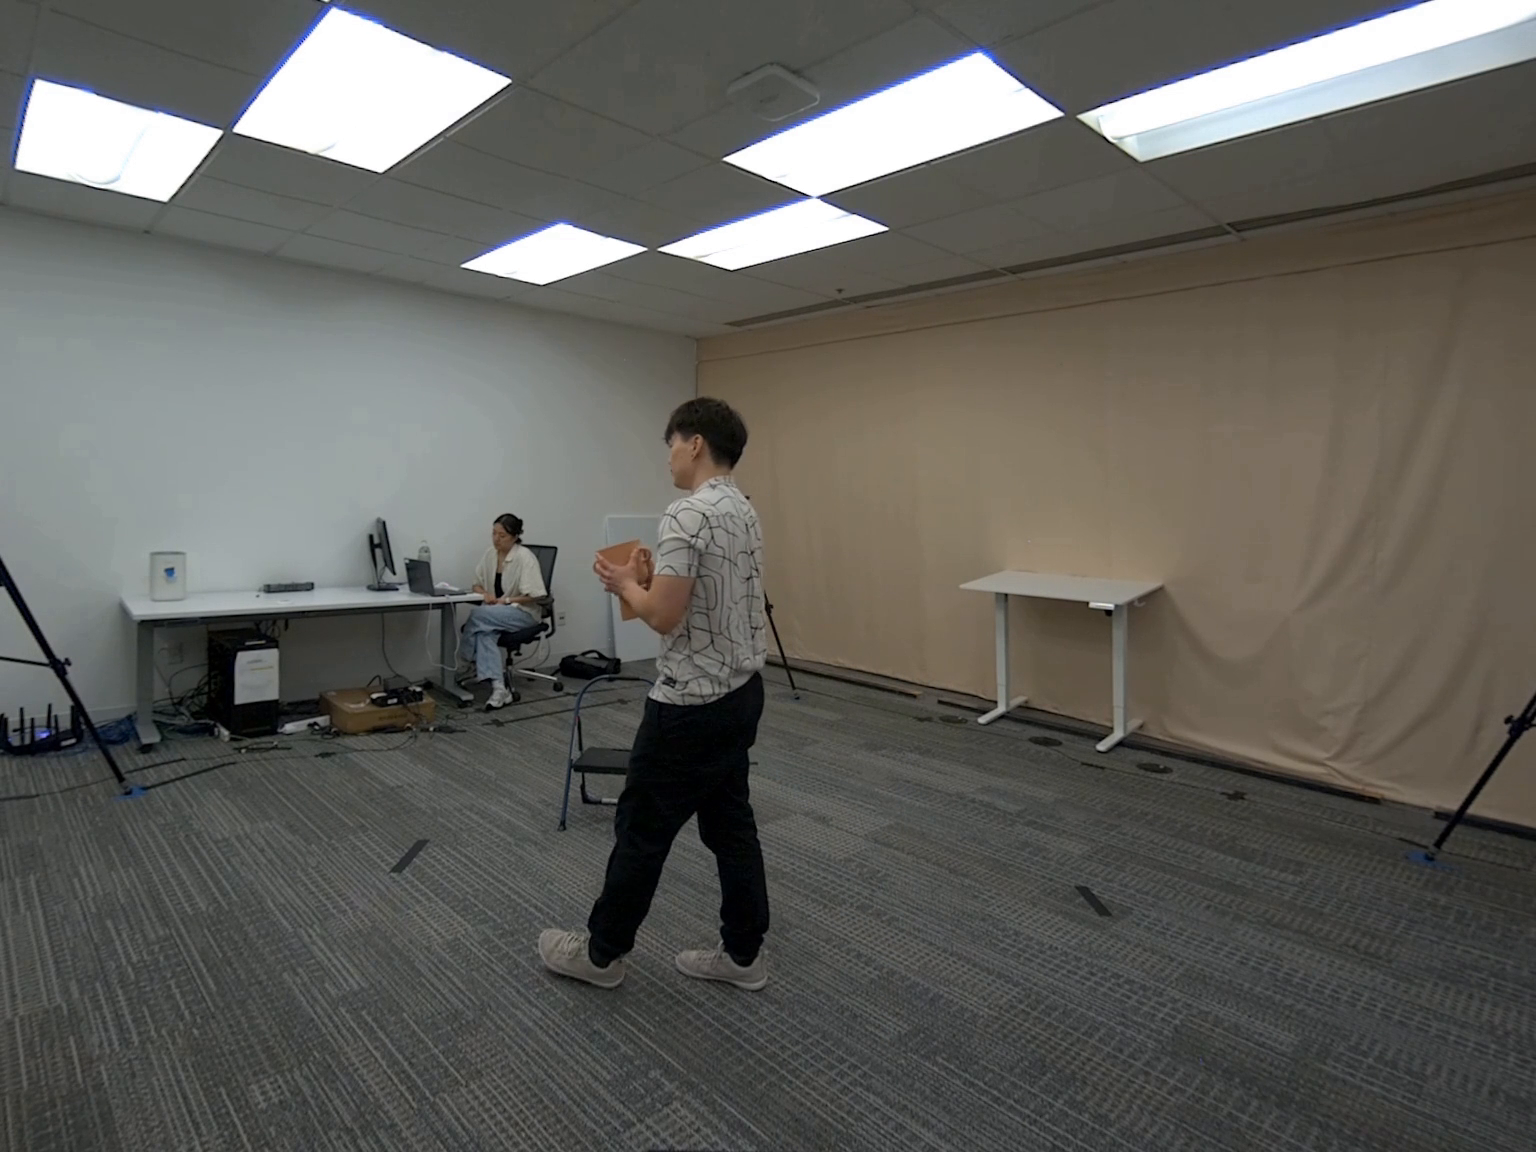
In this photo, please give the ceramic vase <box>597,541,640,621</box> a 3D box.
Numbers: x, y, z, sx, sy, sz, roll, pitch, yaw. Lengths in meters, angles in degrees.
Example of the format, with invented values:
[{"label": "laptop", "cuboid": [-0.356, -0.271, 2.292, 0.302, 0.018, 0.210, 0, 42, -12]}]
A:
[{"label": "ceramic vase", "cuboid": [-0.419, 0.012, 2.493, 0.161, 0.220, 0.132, -14, 1, 39]}]
